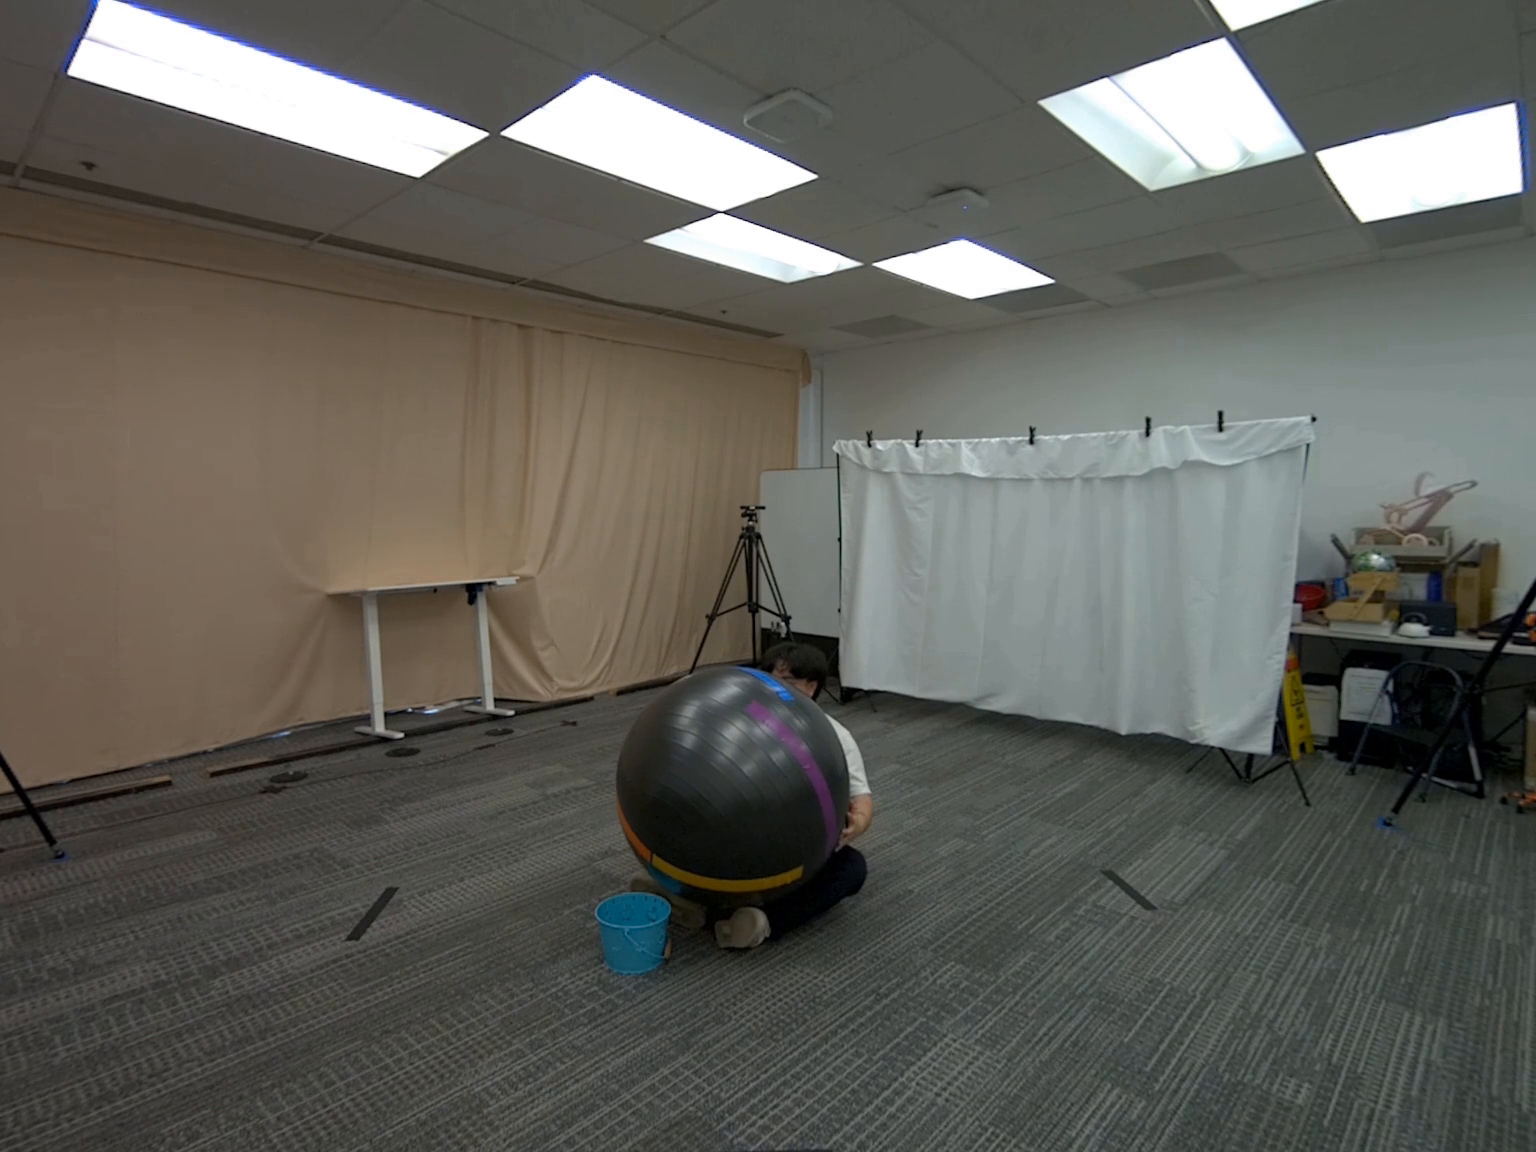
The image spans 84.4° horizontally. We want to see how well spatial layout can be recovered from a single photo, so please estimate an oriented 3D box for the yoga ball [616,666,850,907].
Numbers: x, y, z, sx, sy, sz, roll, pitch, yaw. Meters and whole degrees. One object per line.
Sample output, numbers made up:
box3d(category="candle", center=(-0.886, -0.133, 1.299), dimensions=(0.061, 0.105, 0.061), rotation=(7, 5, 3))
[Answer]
box3d(category="yoga ball", center=(-0.113, 0.675, 2.747), dimensions=(0.757, 0.756, 0.760), rotation=(0, 4, -2))
